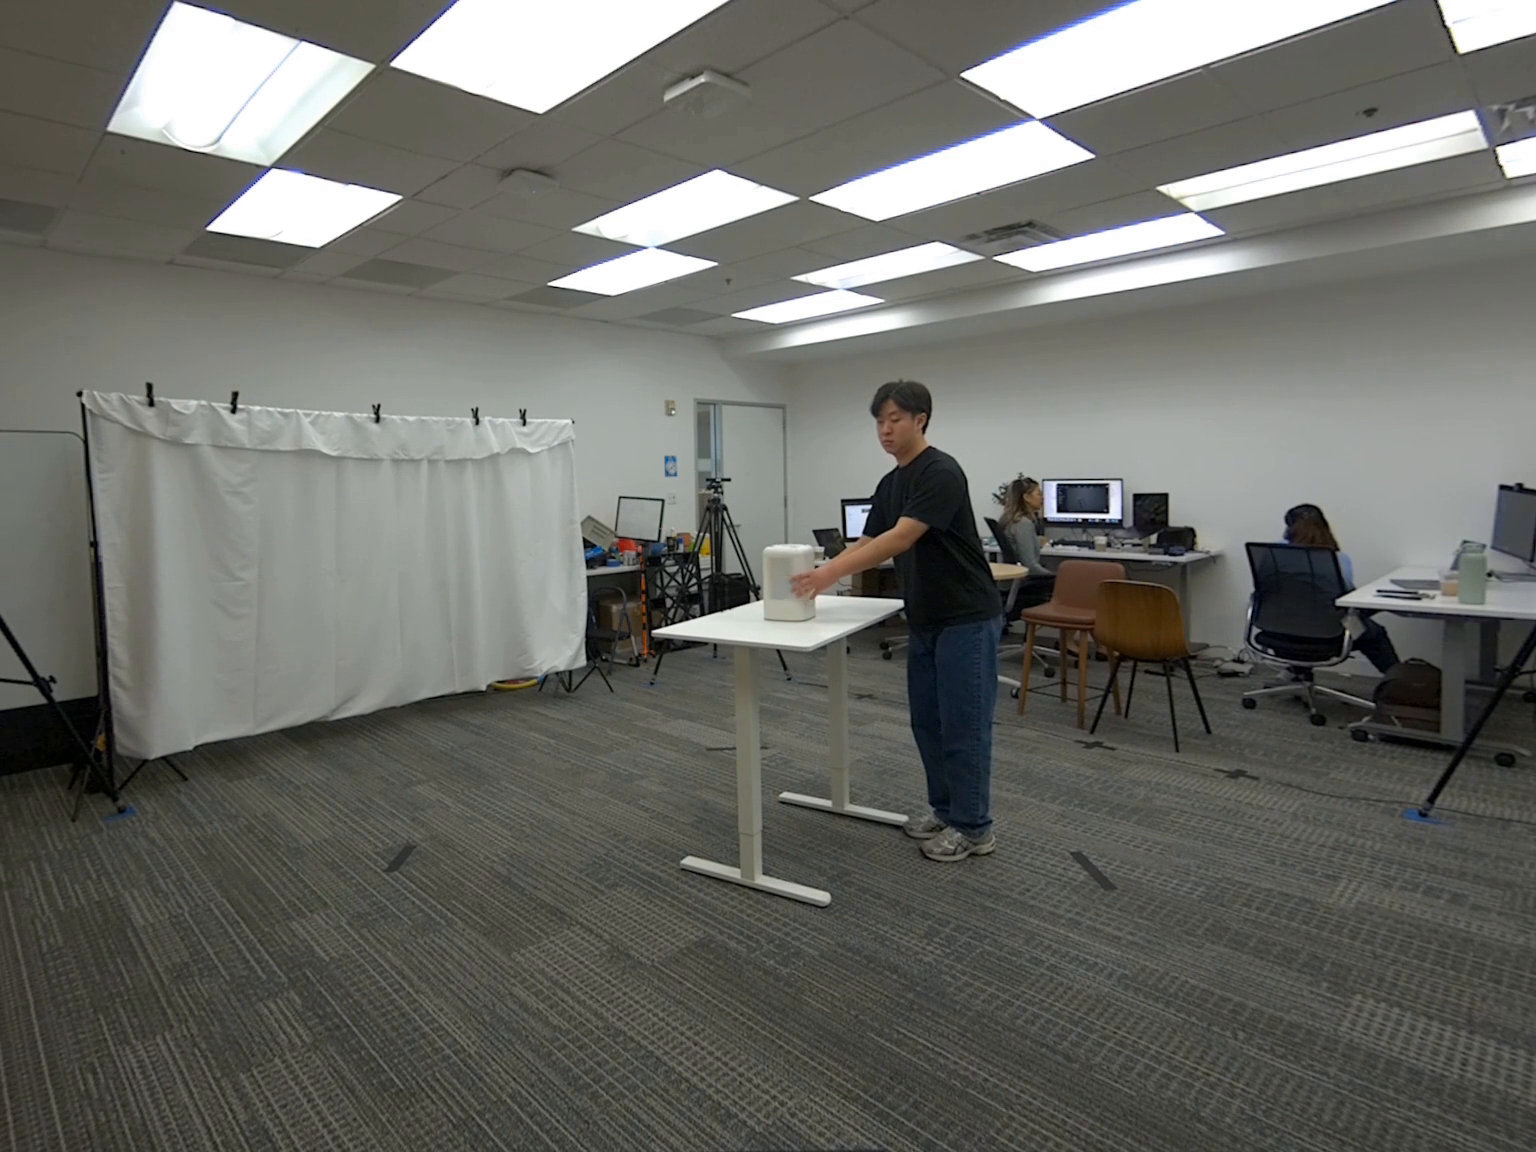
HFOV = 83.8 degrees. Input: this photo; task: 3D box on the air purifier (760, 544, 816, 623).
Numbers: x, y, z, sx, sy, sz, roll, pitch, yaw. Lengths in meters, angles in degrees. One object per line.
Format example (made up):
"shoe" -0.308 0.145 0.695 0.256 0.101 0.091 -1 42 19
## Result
"air purifier" 0.086 0.019 3.123 0.175 0.264 0.168 1 4 24
